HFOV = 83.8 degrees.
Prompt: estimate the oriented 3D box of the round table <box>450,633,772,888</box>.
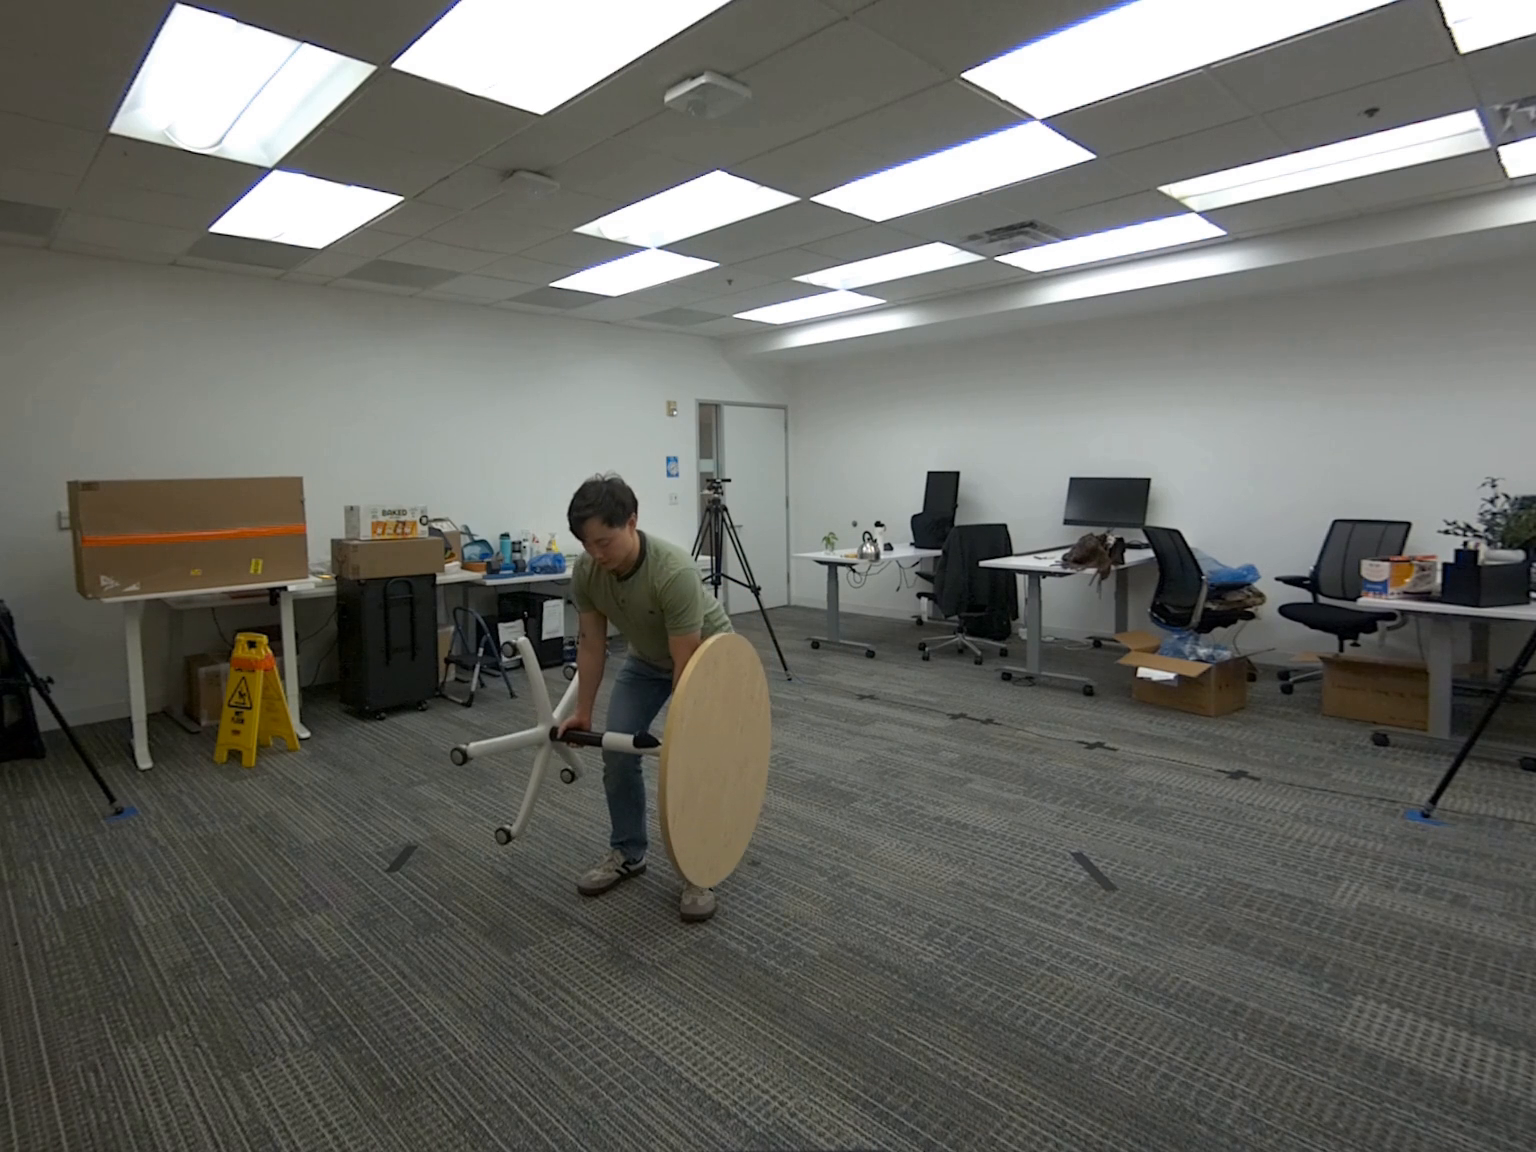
[{"bbox_3d":[-0.502,0.561,2.827,0.811,0.761,0.750,1,5,24],"label":"round table"}]
